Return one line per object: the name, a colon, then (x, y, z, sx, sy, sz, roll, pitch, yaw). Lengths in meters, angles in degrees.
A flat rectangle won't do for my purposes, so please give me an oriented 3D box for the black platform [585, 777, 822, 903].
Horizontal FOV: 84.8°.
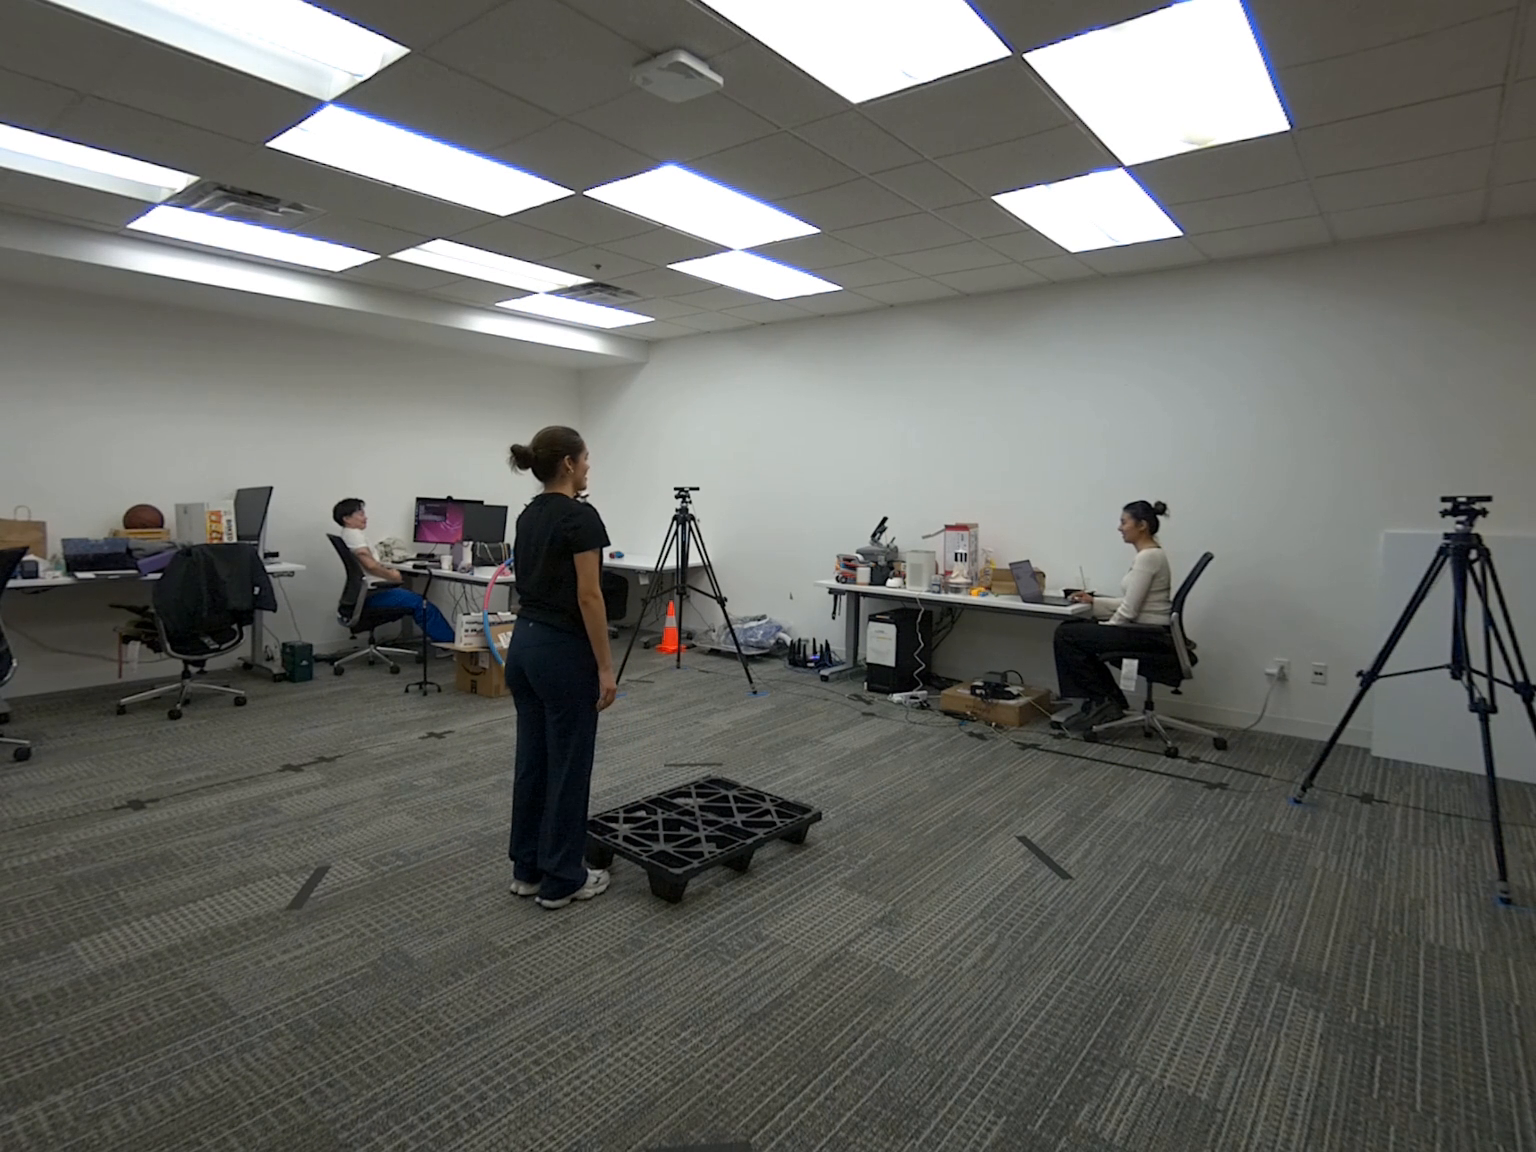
black platform: (-0.243, 0.985, 3.269, 0.626, 0.142, 0.782, 7, 8, 42)
